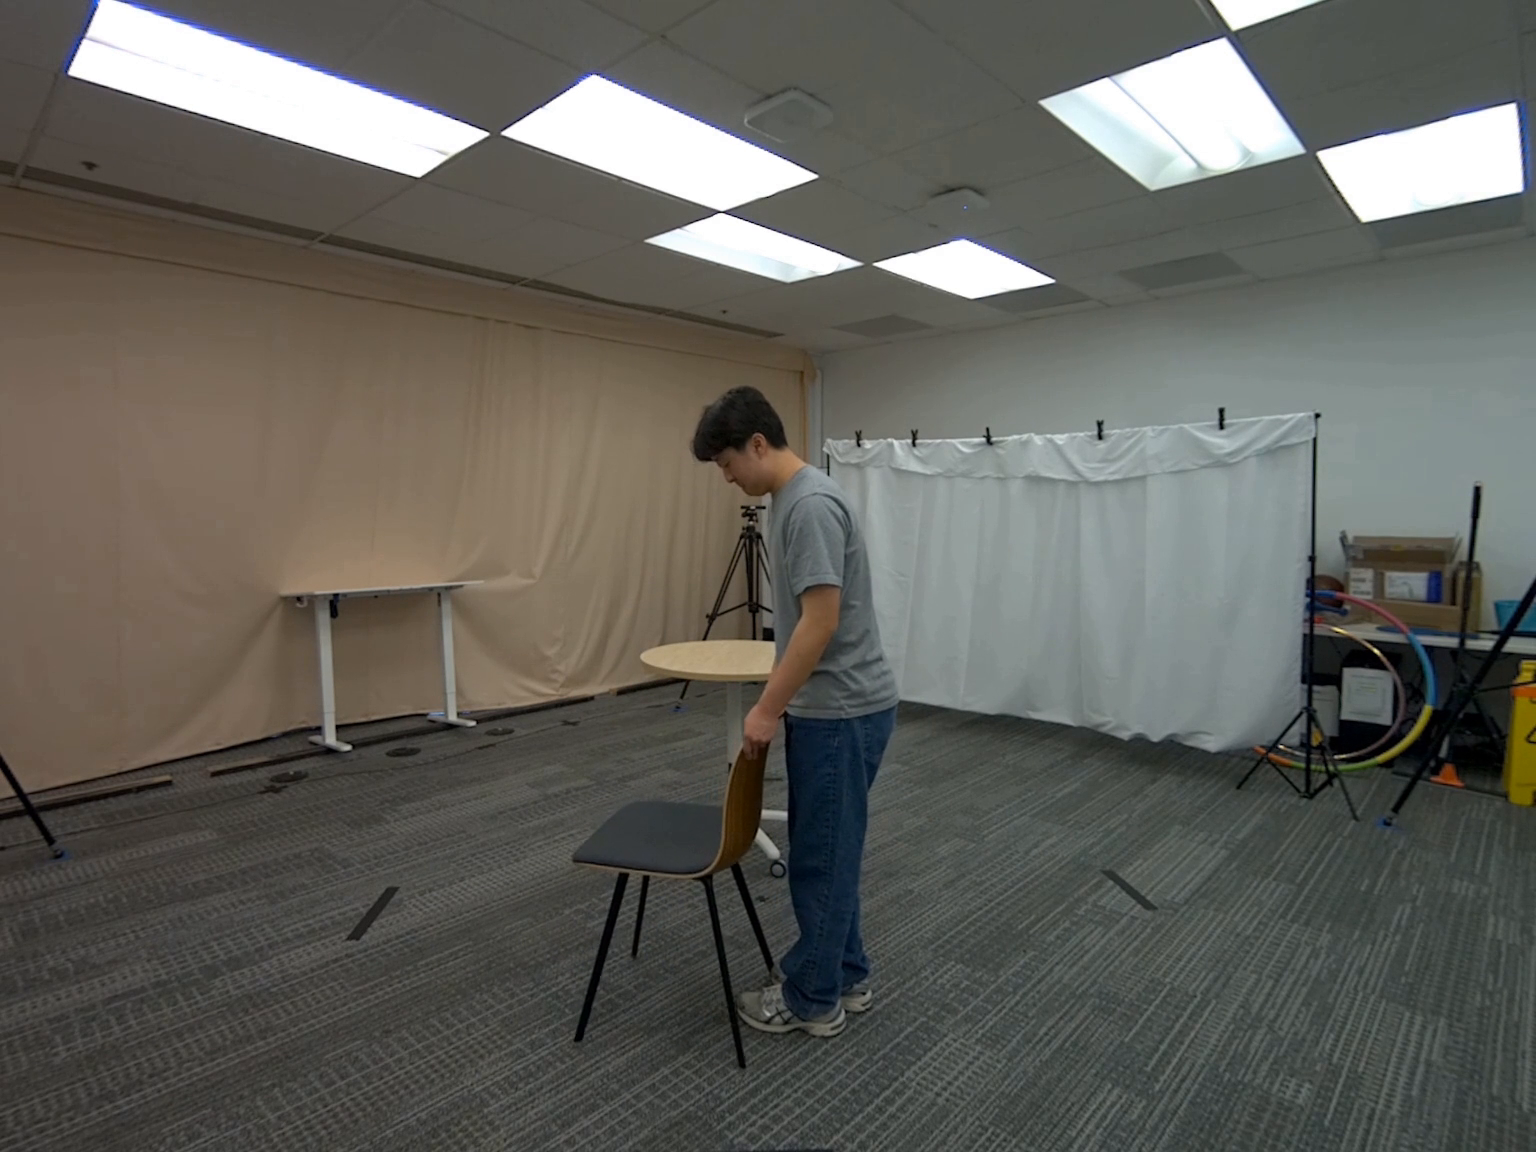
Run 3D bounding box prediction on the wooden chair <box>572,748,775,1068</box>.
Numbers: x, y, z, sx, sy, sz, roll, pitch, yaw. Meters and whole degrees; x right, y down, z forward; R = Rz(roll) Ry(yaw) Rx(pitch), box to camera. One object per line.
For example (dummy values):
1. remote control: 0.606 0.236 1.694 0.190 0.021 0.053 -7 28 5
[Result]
1. wooden chair: -0.247 0.771 2.333 0.531 0.875 0.472 5 4 12
